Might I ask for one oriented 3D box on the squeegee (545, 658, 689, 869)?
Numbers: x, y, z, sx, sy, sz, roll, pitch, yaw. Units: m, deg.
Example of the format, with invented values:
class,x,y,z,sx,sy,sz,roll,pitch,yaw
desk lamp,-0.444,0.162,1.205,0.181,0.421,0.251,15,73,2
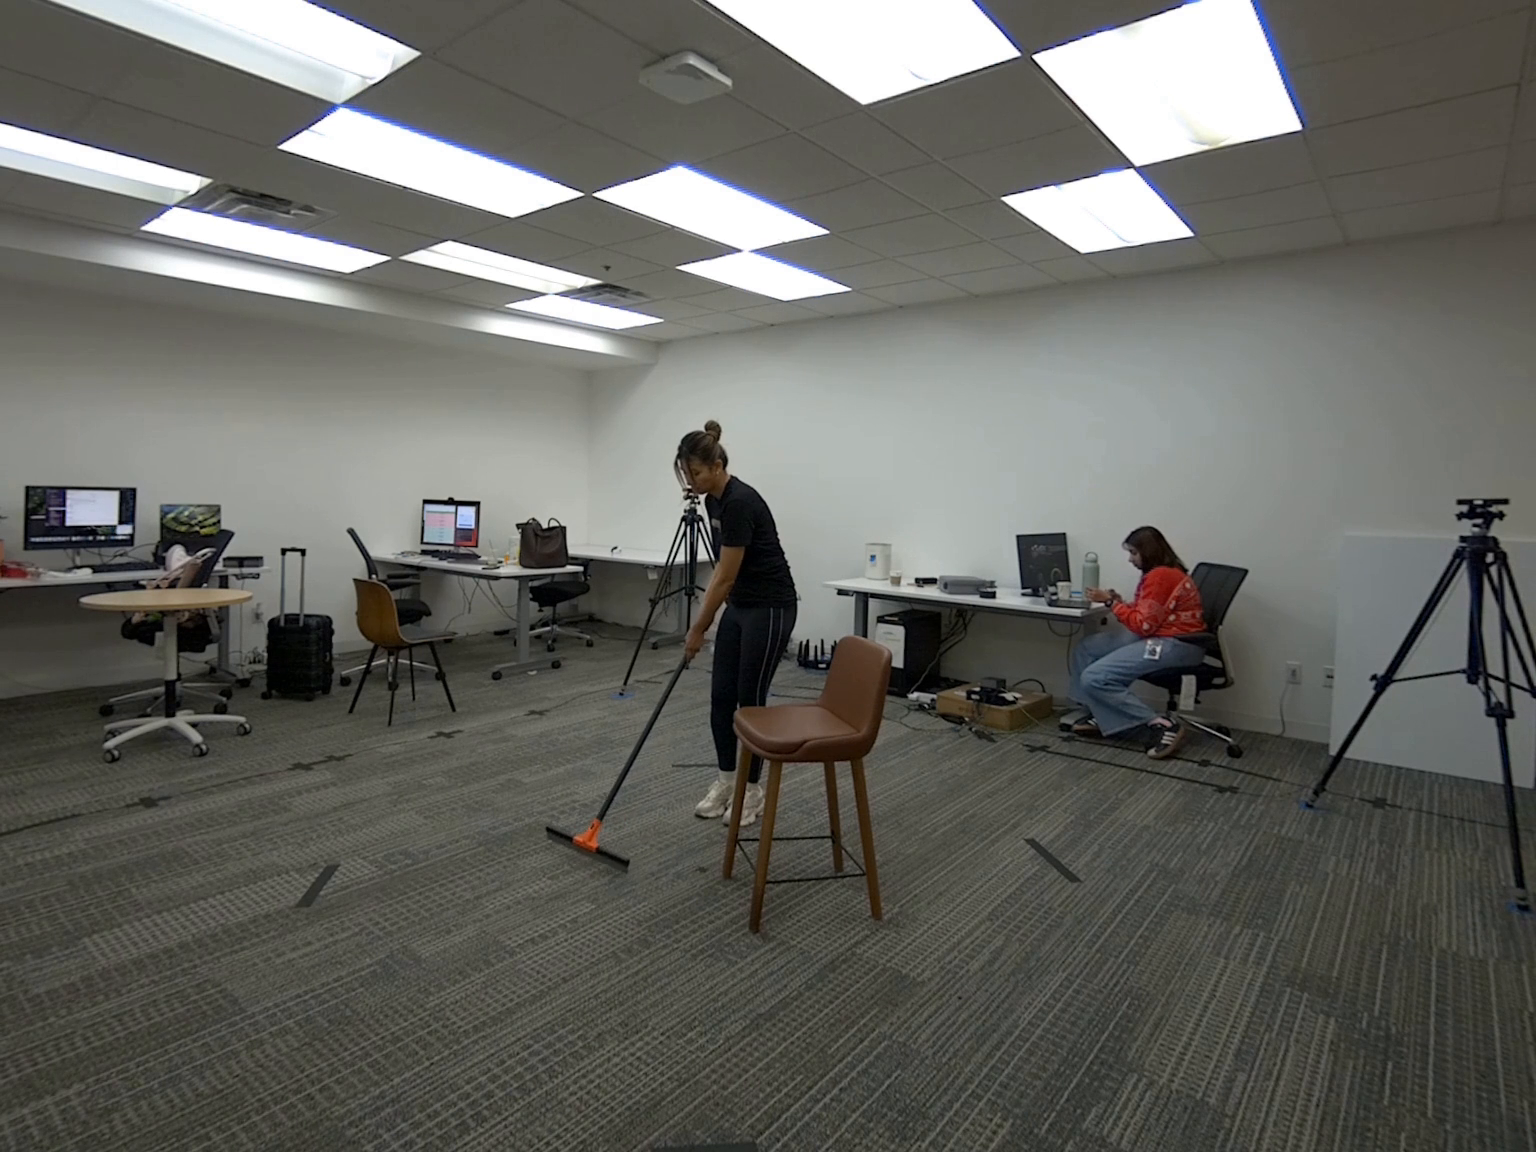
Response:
class,x,y,z,sx,sy,sz,roll,pitch,yaw
squeegee,-0.407,0.409,3.514,0.451,1.552,0.051,4,-37,33
